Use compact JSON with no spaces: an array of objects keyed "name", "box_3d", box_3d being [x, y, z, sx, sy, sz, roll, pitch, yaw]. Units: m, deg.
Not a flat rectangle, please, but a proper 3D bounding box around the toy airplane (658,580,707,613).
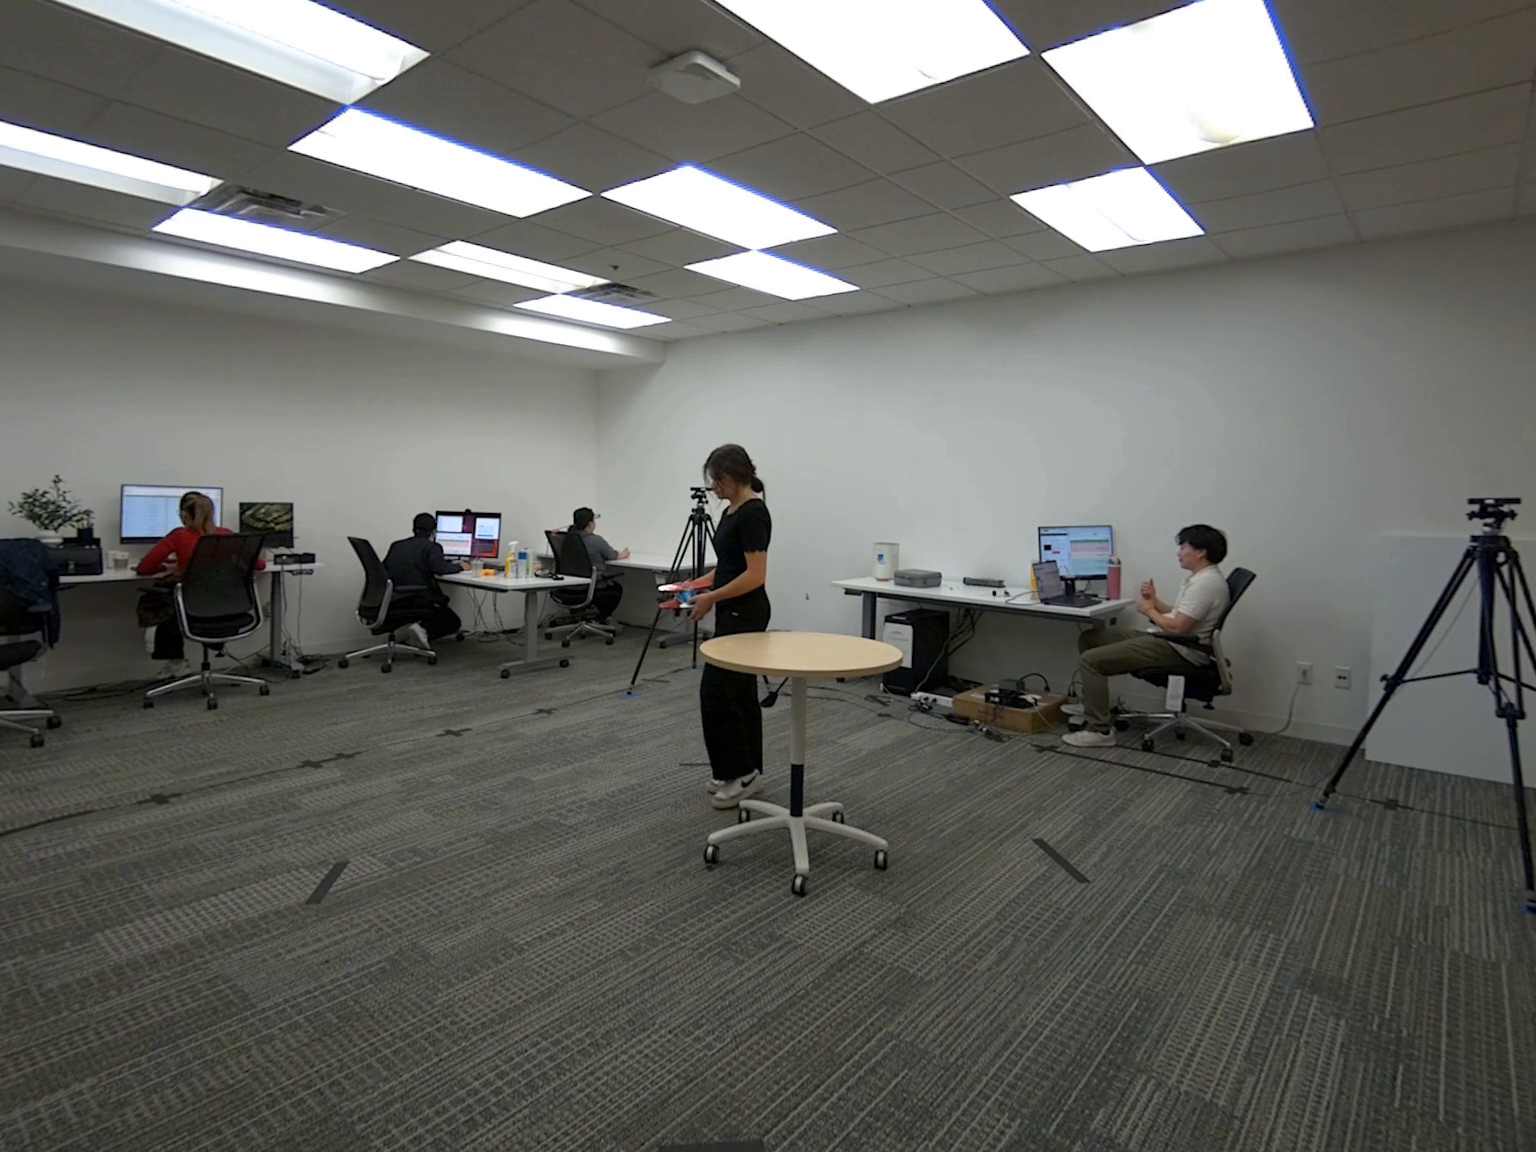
[{"name":"toy airplane","box_3d":[-0.366,0.099,3.853,0.244,0.157,0.266,-6,-1,-42]}]
